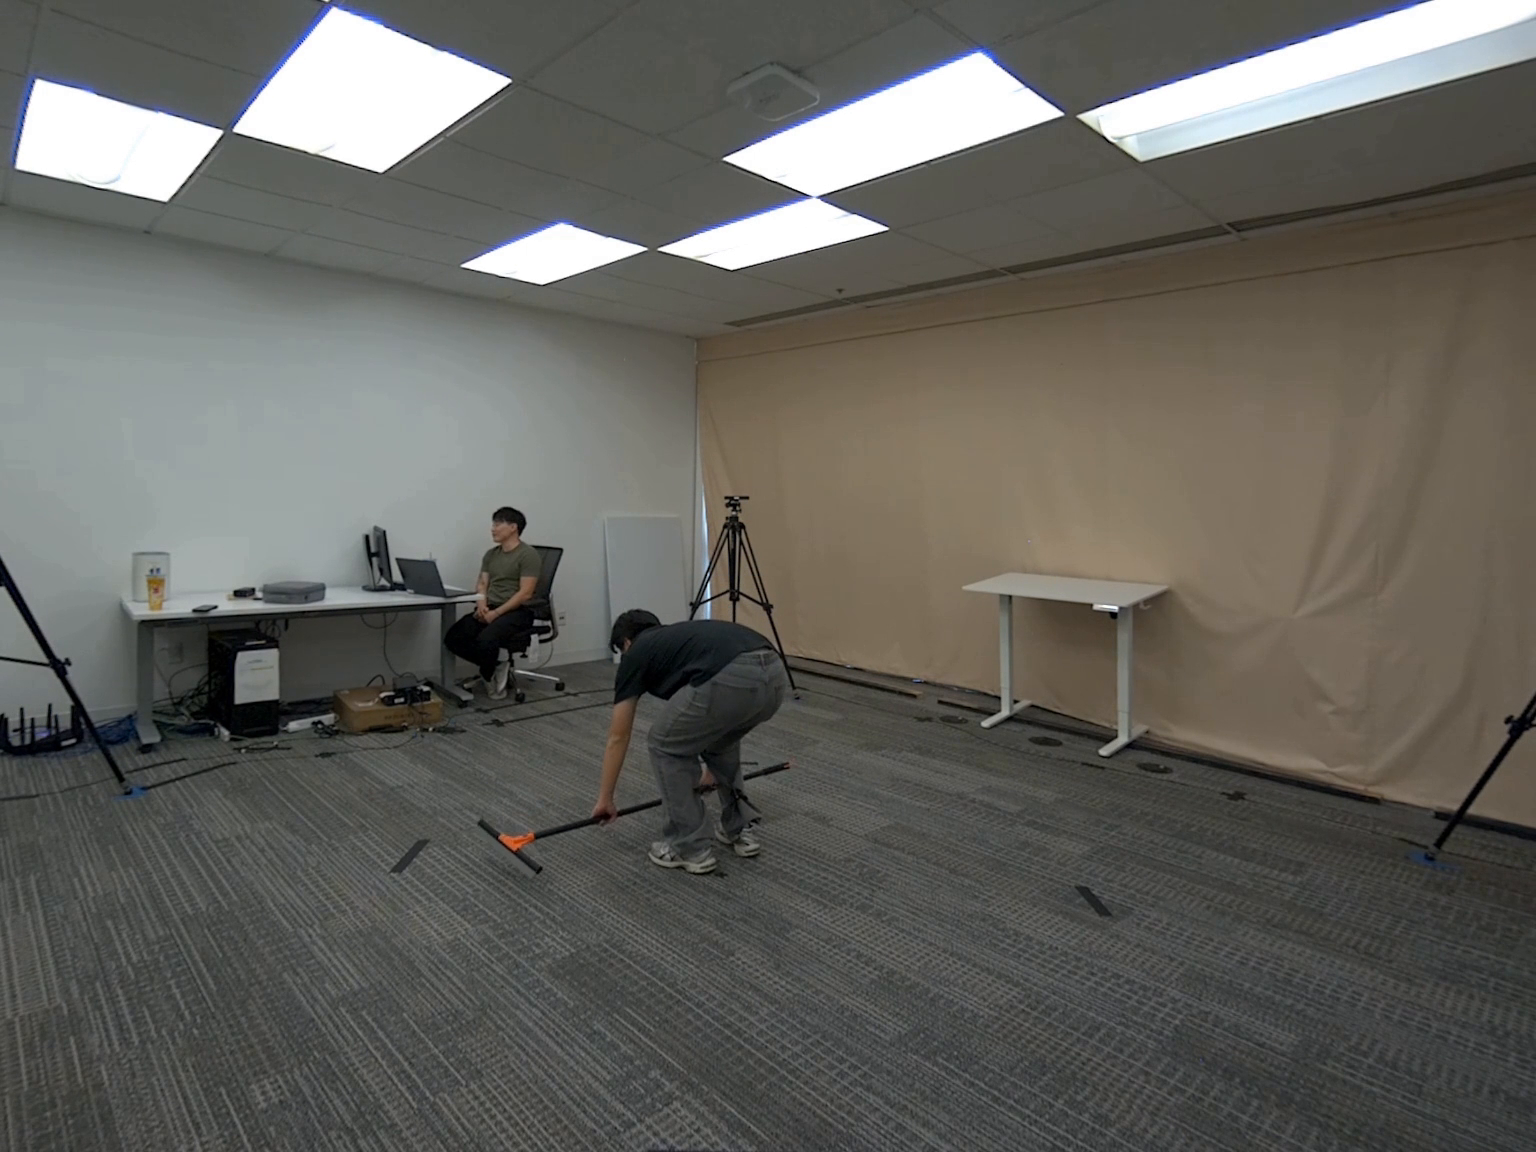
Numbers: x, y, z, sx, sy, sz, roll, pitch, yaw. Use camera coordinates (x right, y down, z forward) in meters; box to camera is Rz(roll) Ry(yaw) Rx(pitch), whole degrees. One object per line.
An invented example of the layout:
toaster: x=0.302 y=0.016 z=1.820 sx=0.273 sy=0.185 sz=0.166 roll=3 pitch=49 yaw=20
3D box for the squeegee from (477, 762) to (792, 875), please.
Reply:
squeegee: x=-0.431 y=0.945 z=3.533 sx=1.502 sy=0.052 sz=0.450 roll=-3 pitch=12 yaw=-45
